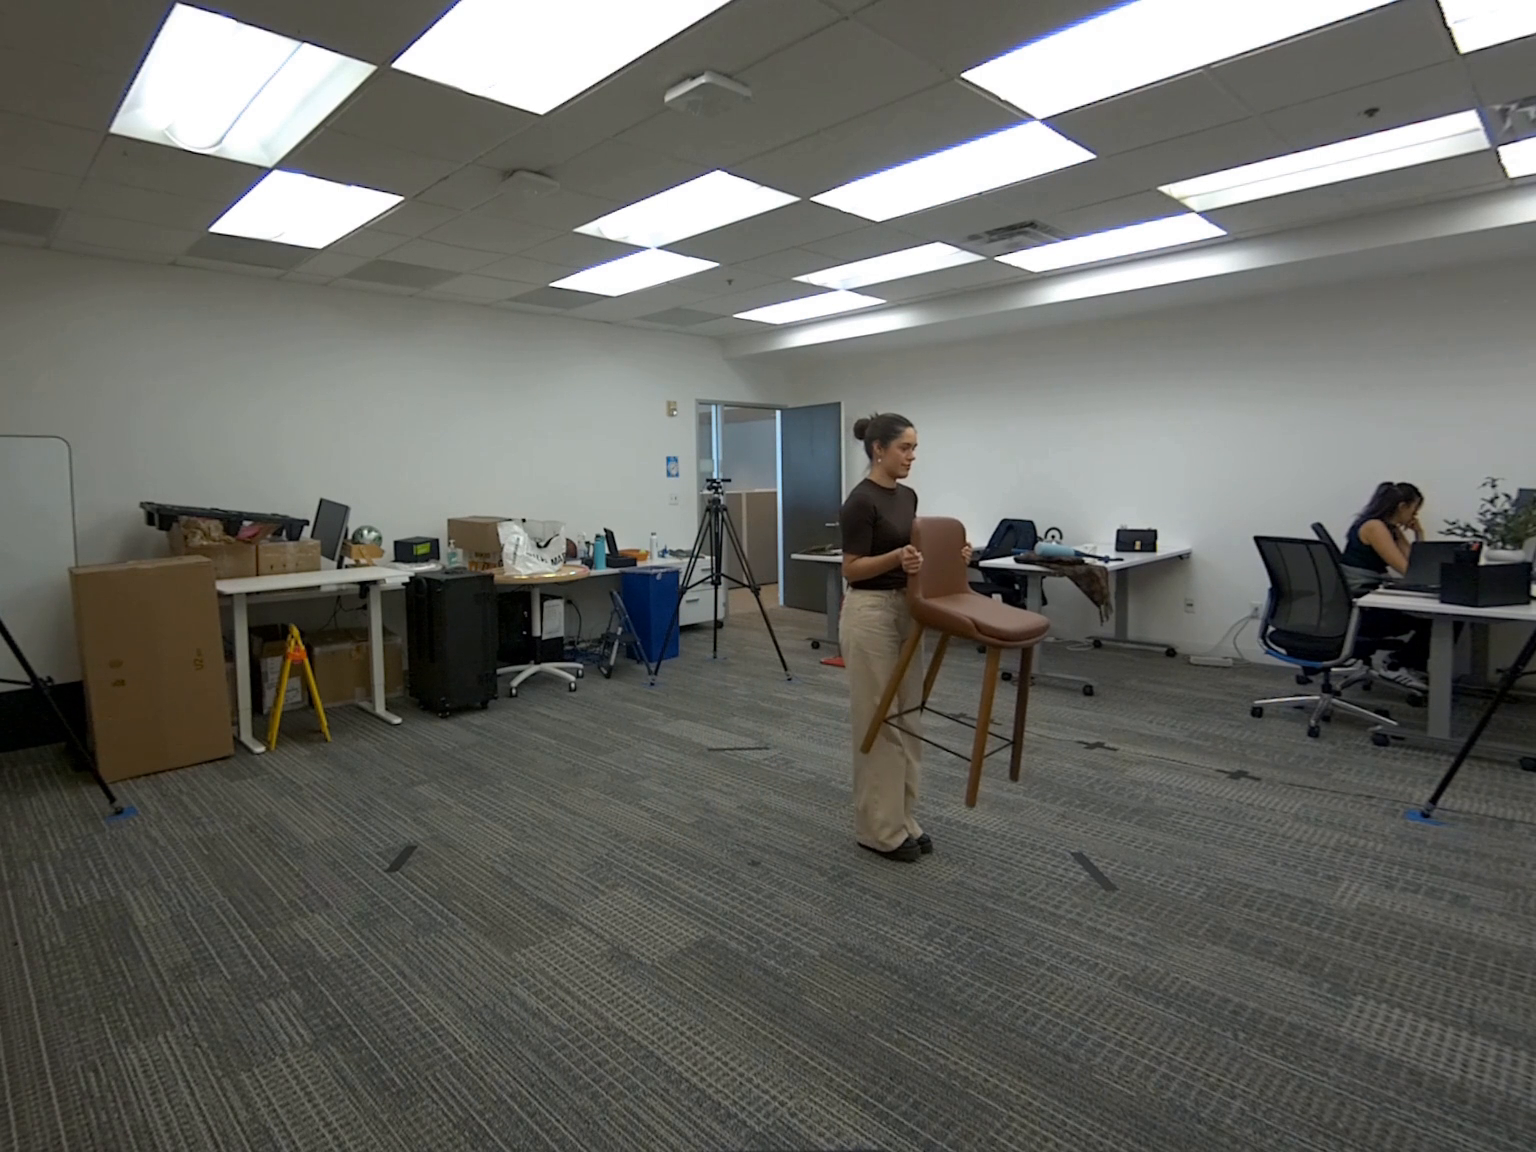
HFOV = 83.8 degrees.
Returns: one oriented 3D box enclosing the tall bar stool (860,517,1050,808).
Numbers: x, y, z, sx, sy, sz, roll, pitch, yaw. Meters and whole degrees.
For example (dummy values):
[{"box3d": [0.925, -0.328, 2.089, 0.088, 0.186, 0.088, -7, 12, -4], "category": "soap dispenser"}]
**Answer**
[{"box3d": [0.701, 0.277, 3.029, 0.484, 0.884, 0.444, 16, 10, 37], "category": "tall bar stool"}]
